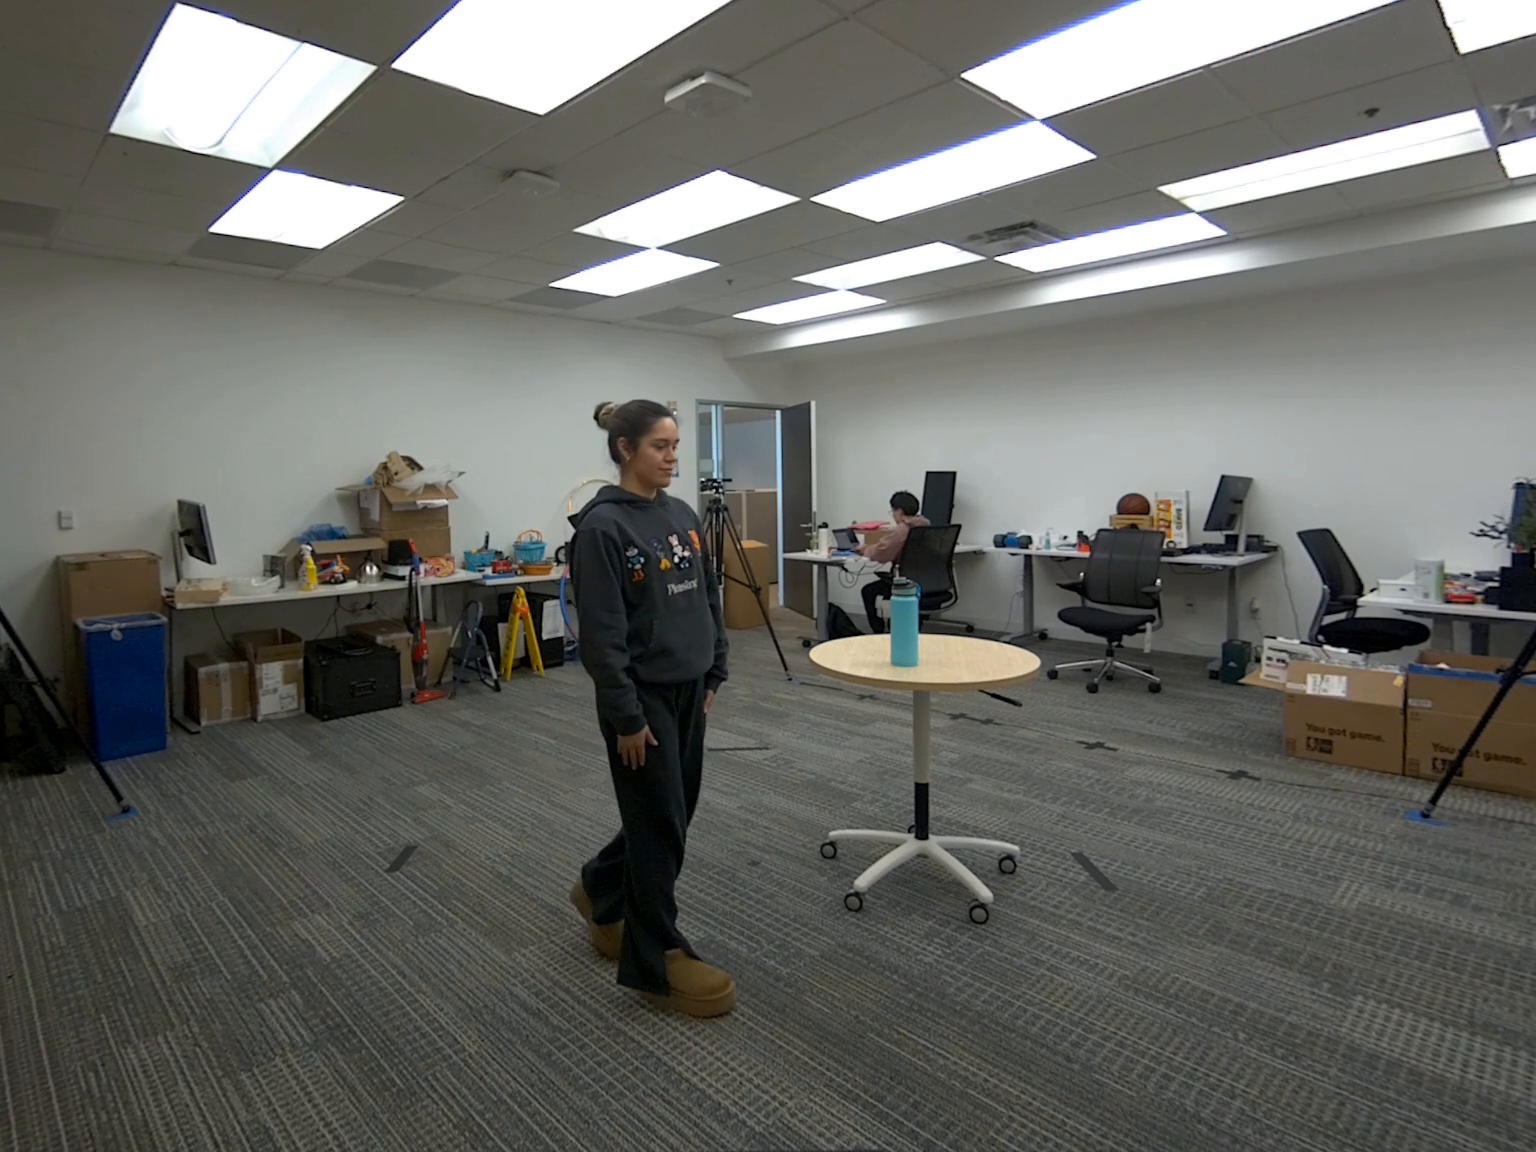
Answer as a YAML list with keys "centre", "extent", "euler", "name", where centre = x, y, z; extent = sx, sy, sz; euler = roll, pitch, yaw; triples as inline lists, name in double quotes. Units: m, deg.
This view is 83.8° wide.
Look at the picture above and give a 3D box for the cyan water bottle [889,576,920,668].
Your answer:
- centre: [0.453, 0.150, 2.780]
  extent: [0.092, 0.283, 0.092]
  euler: [-1, 2, -2]
  name: "cyan water bottle"
